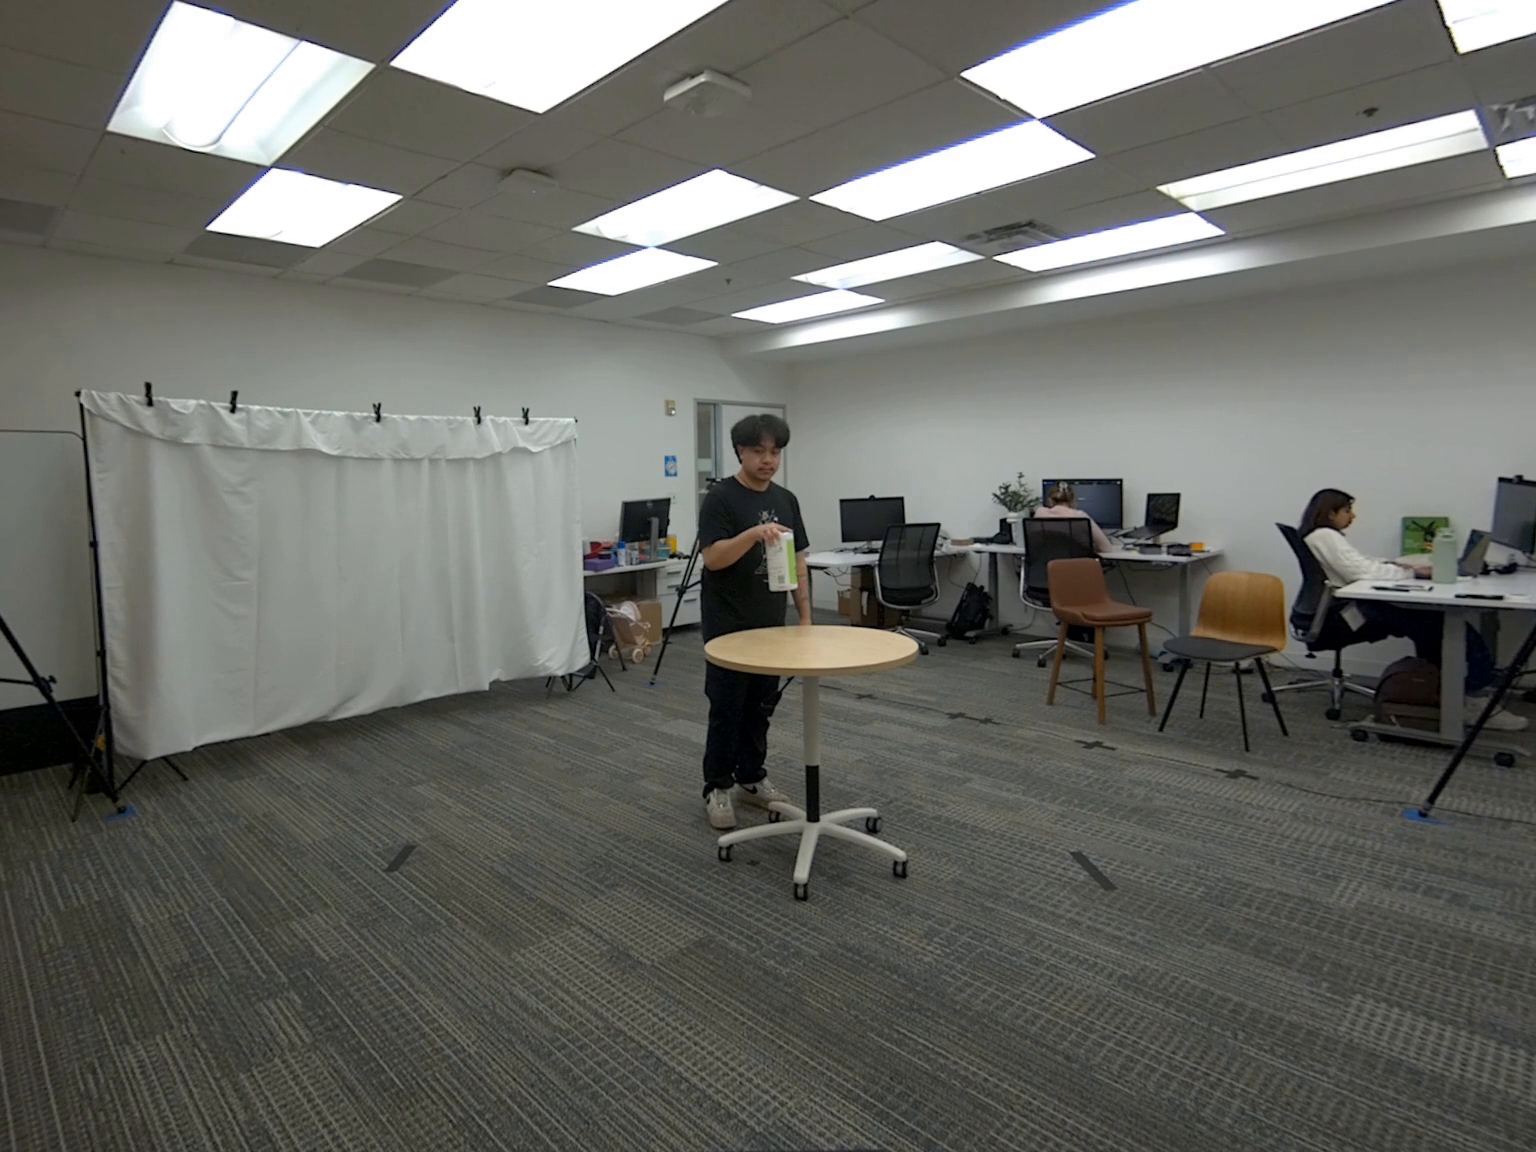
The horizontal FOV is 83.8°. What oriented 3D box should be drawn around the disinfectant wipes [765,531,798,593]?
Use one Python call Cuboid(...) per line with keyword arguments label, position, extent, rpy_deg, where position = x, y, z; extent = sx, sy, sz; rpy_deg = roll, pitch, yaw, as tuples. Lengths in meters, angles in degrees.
Cuboid(label="disinfectant wipes", position=(0.048, -0.050, 3.230), extent=(0.118, 0.217, 0.118), rpy_deg=(-2, 0, -2))
